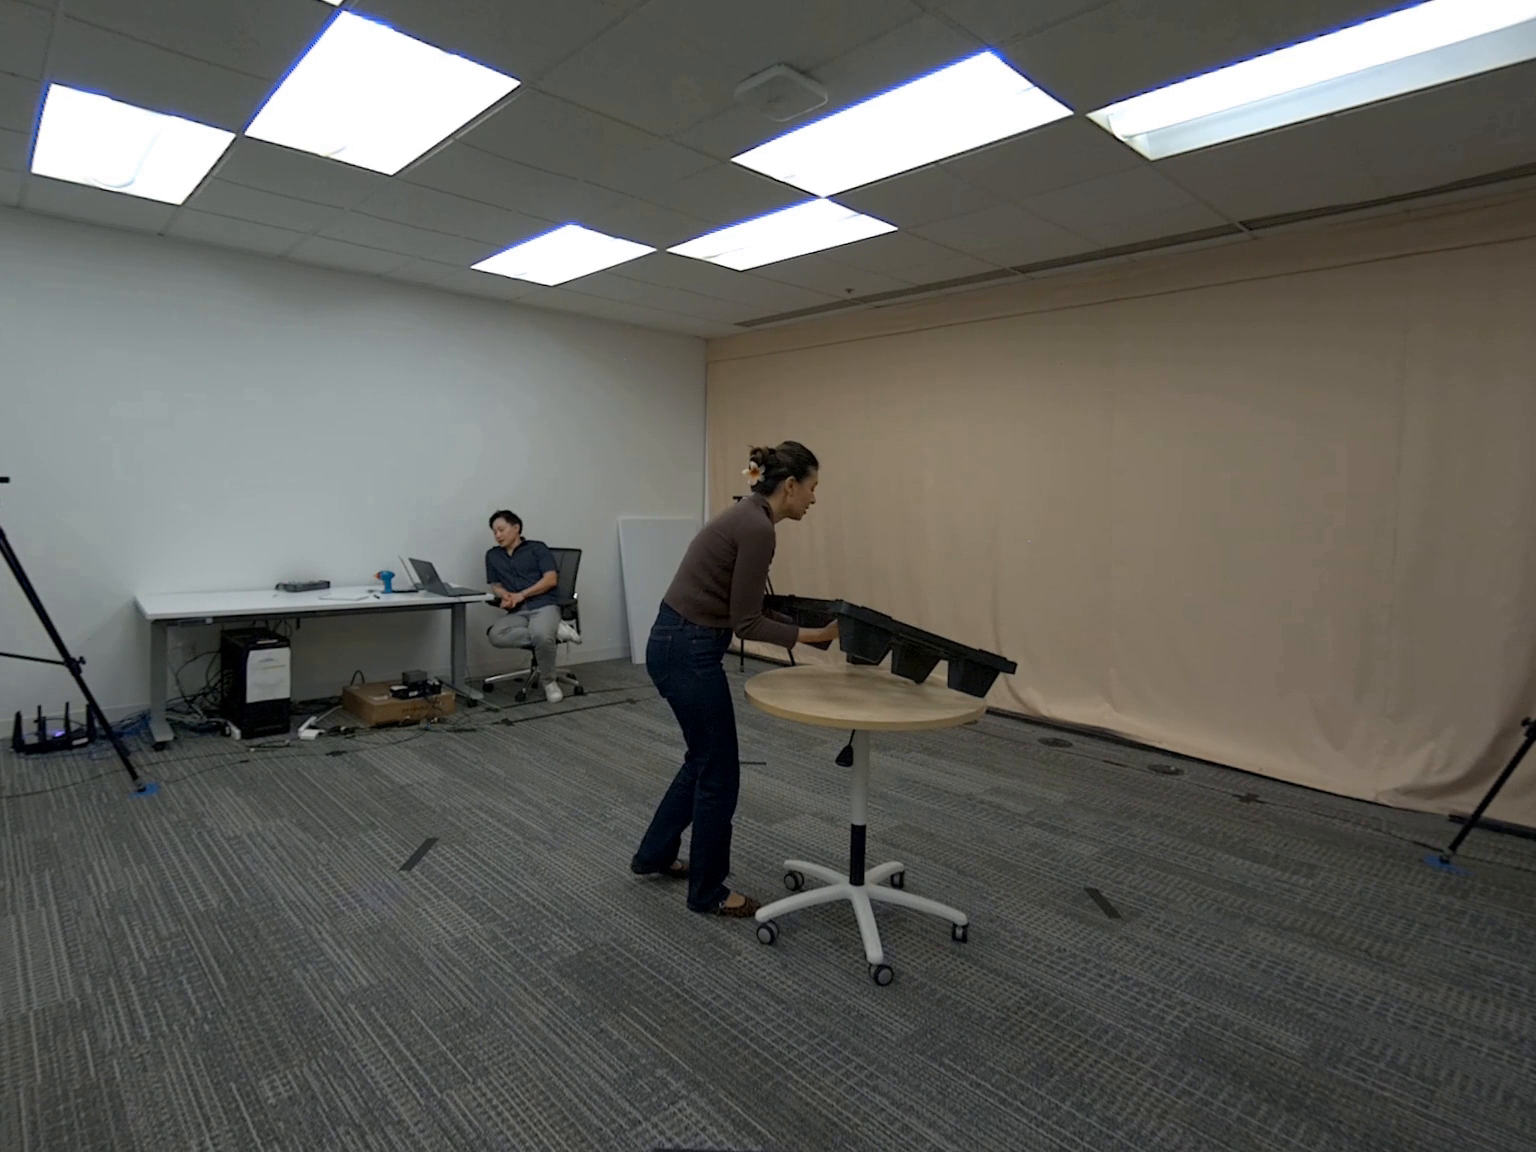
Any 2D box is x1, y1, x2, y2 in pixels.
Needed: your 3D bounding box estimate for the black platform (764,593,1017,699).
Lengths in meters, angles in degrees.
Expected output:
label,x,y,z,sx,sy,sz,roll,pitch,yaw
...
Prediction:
label,x,y,z,sx,sy,sz,roll,pitch,yaw
black platform,0.315,0.217,2.774,0.595,0.144,0.817,20,-5,-19
